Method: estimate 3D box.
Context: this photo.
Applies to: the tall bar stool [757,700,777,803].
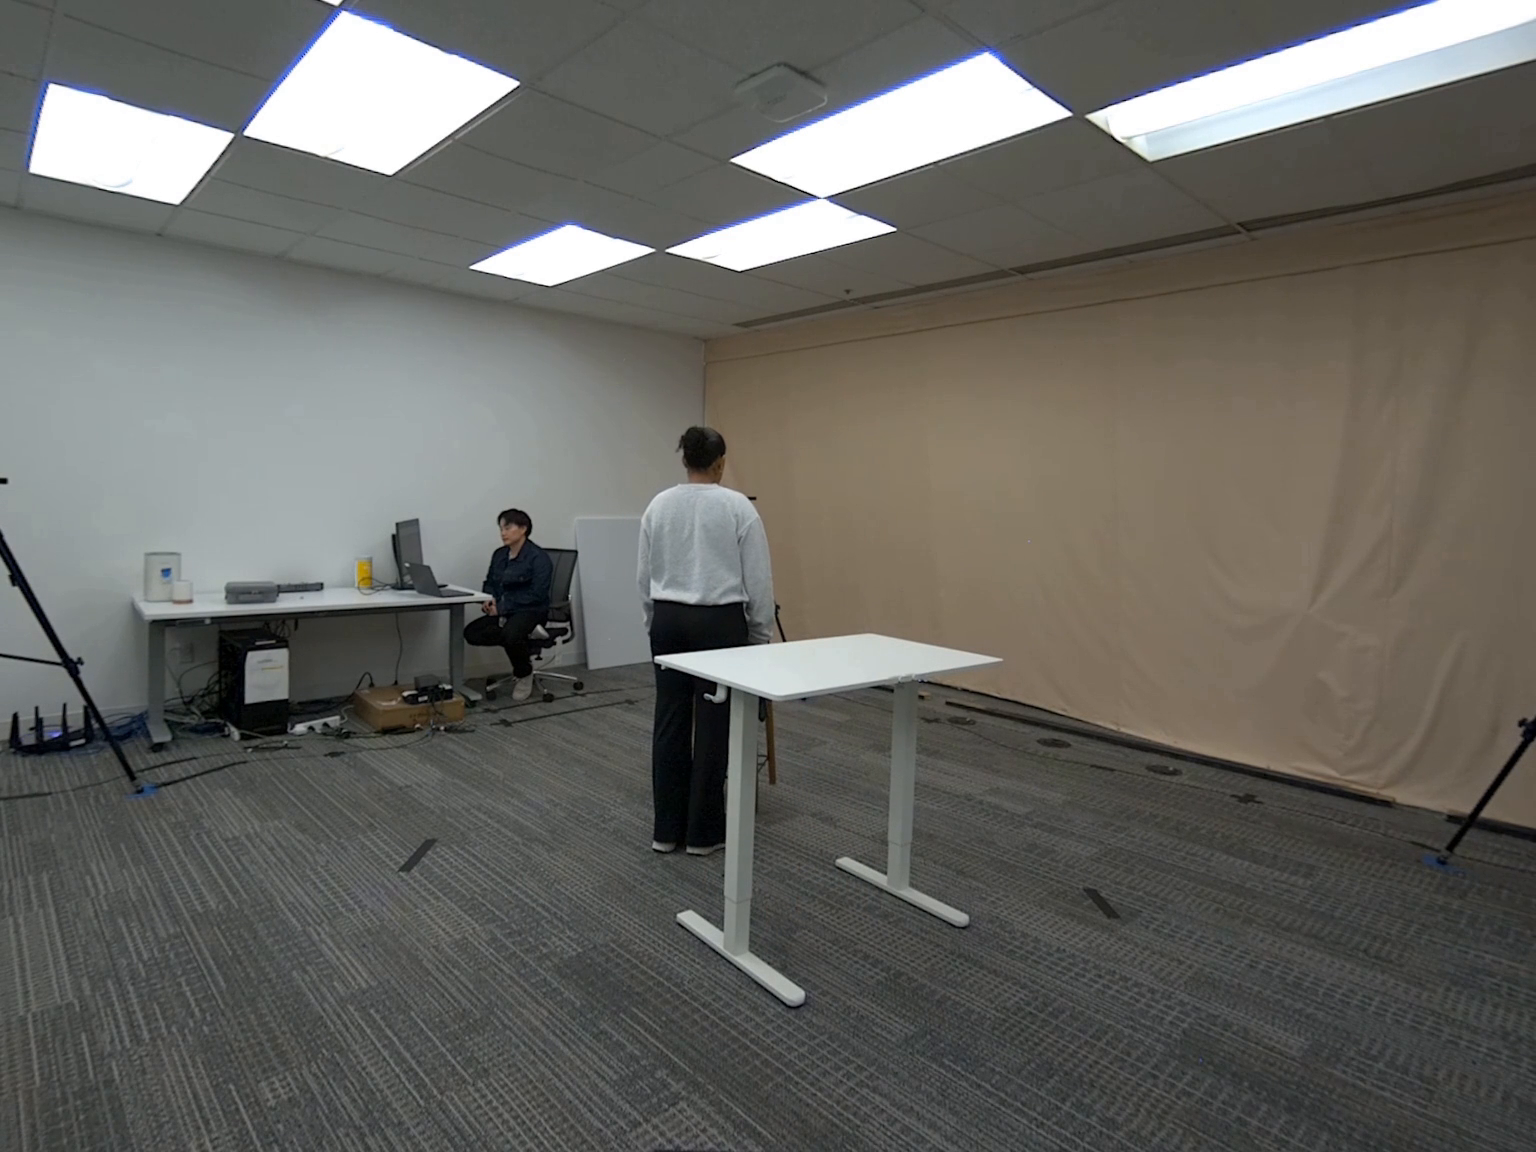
[{"bbox_3d":[-0.193,0.596,3.952,0.461,0.887,0.465,2,5,11],"label":"tall bar stool"}]
